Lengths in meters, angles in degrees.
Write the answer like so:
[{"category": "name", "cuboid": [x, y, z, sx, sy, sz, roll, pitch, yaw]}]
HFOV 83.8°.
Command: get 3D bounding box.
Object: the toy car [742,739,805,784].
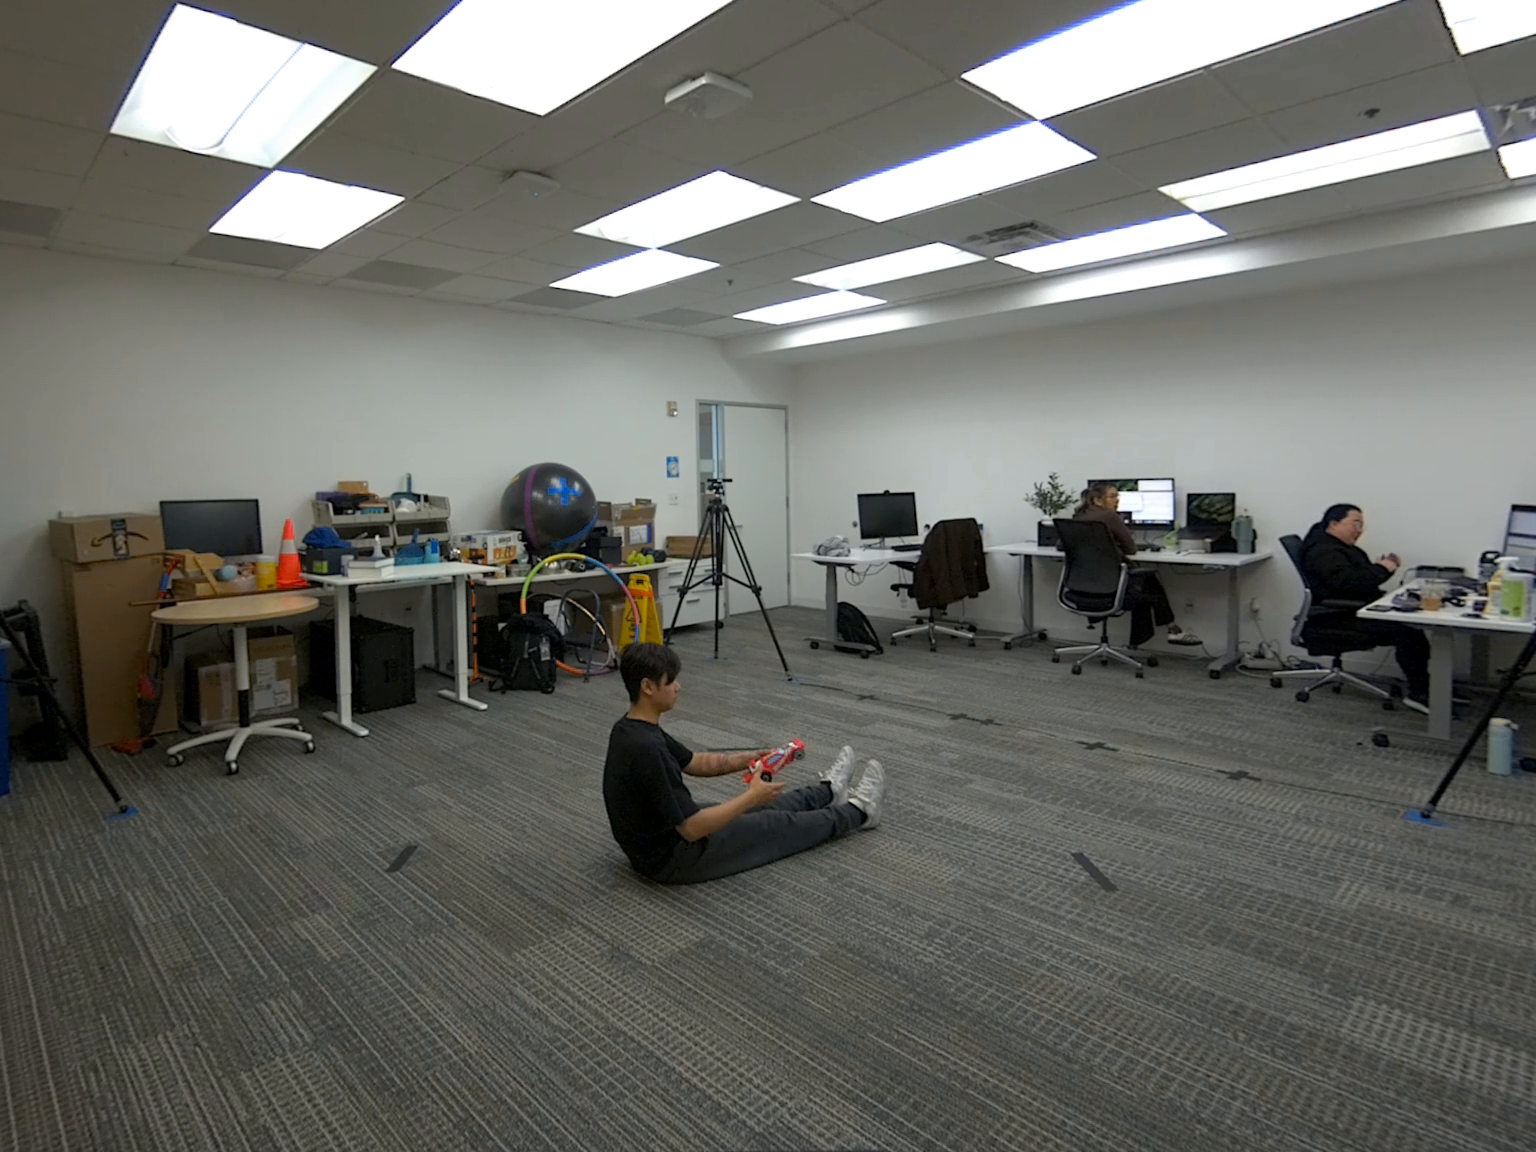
[{"category": "toy car", "cuboid": [0.010, 0.677, 3.073, 0.254, 0.083, 0.131, -23, 6, -4]}]
